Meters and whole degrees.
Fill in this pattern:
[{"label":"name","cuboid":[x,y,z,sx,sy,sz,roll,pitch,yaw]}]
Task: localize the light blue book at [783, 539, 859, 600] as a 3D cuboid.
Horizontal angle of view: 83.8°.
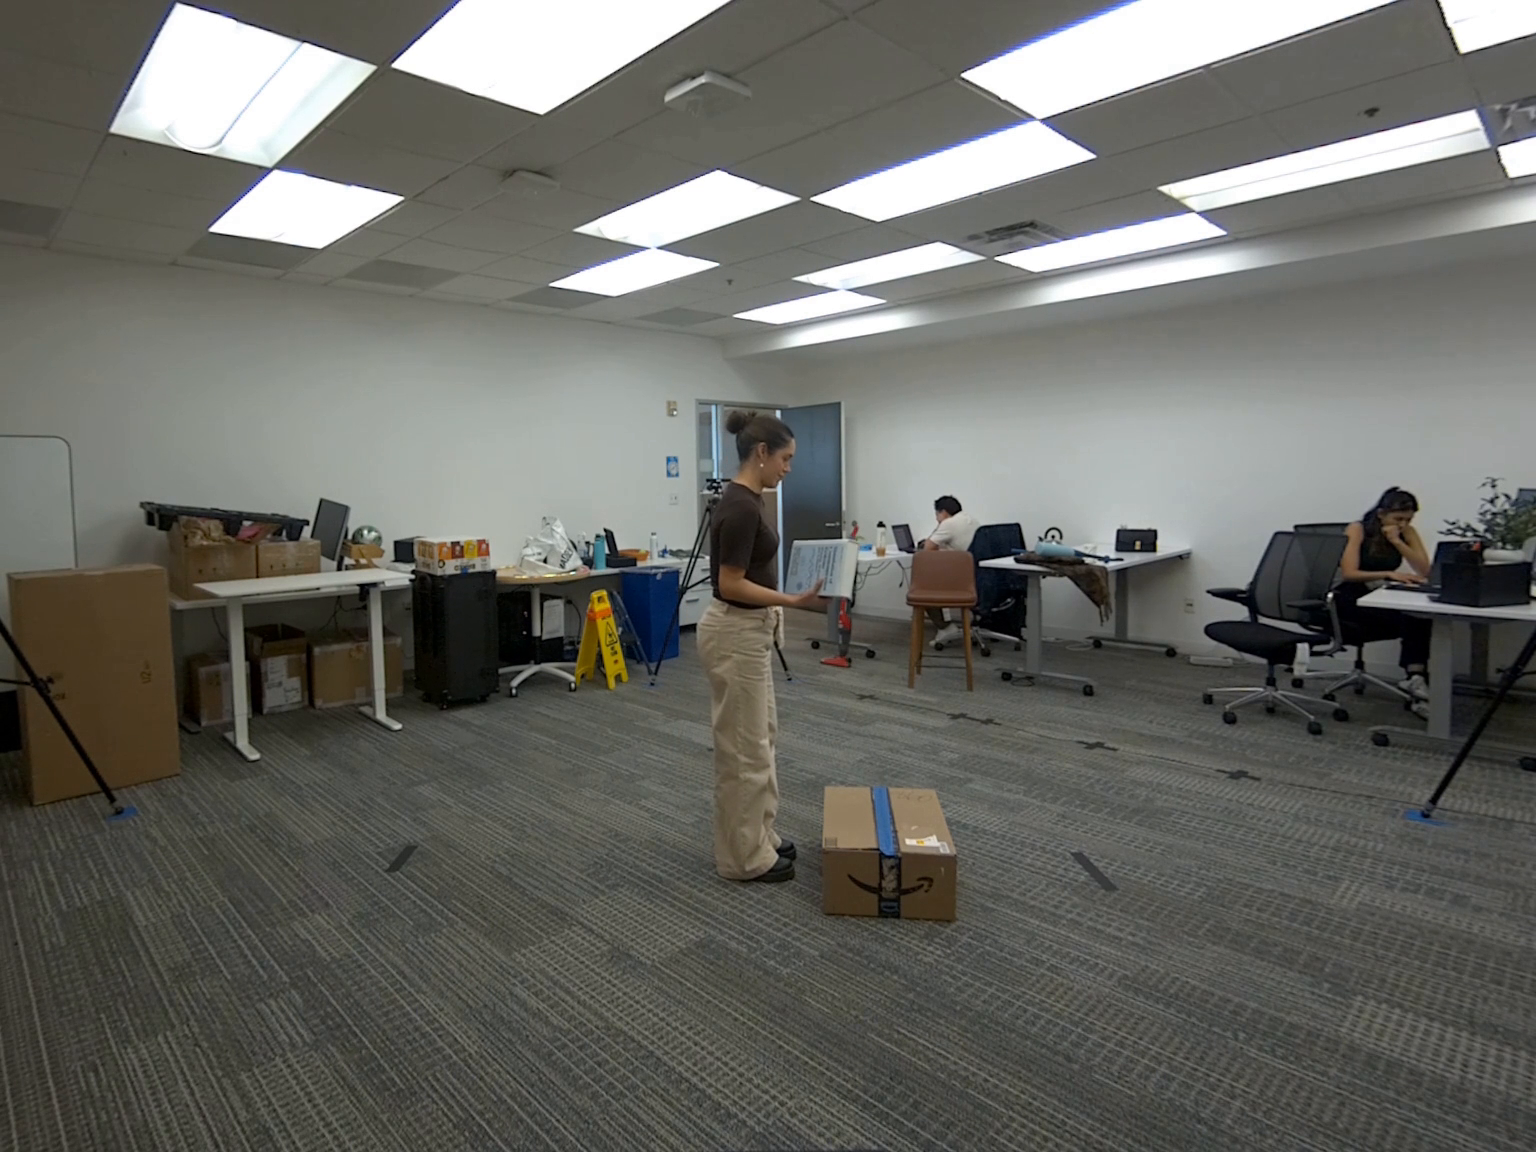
[{"label":"light blue book","cuboid":[0.175,-0.023,2.834,0.057,0.192,0.268,18,-11,-37]}]
